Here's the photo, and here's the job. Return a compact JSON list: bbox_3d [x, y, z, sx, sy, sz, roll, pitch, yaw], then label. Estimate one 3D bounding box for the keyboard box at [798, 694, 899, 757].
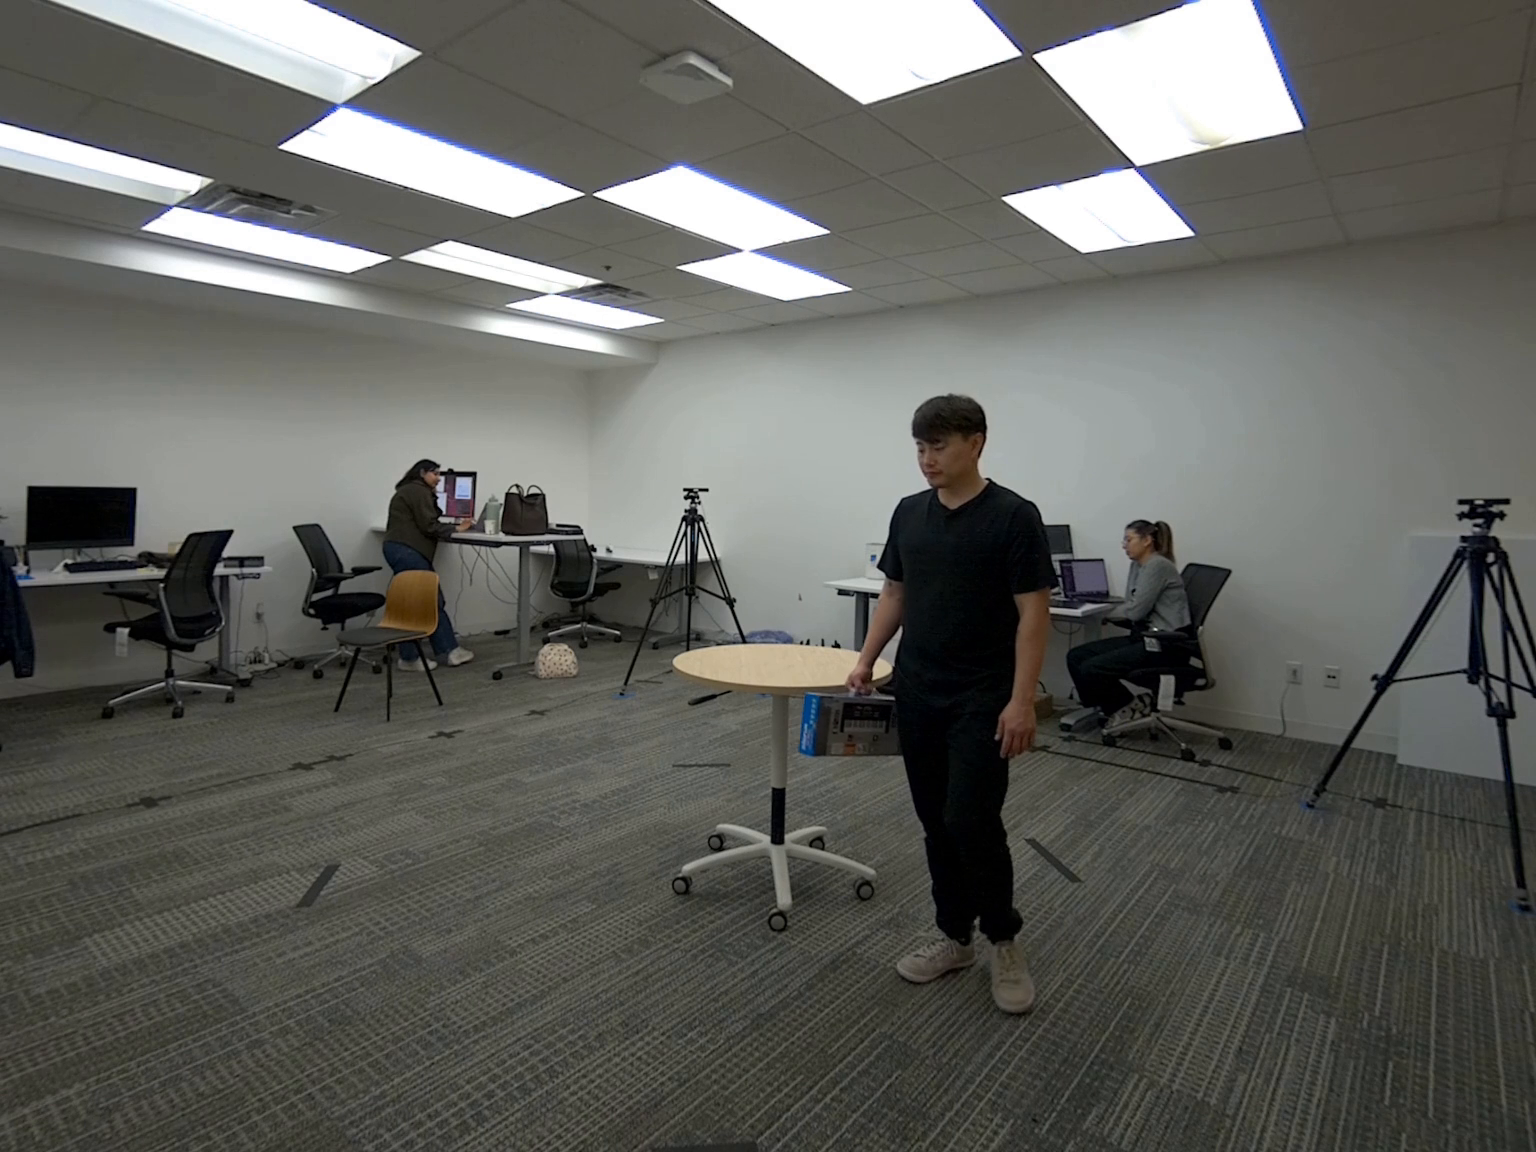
[{"bbox_3d":[0.270,0.447,2.559,0.421,0.177,0.061,11,-6,-41],"label":"keyboard box"}]
